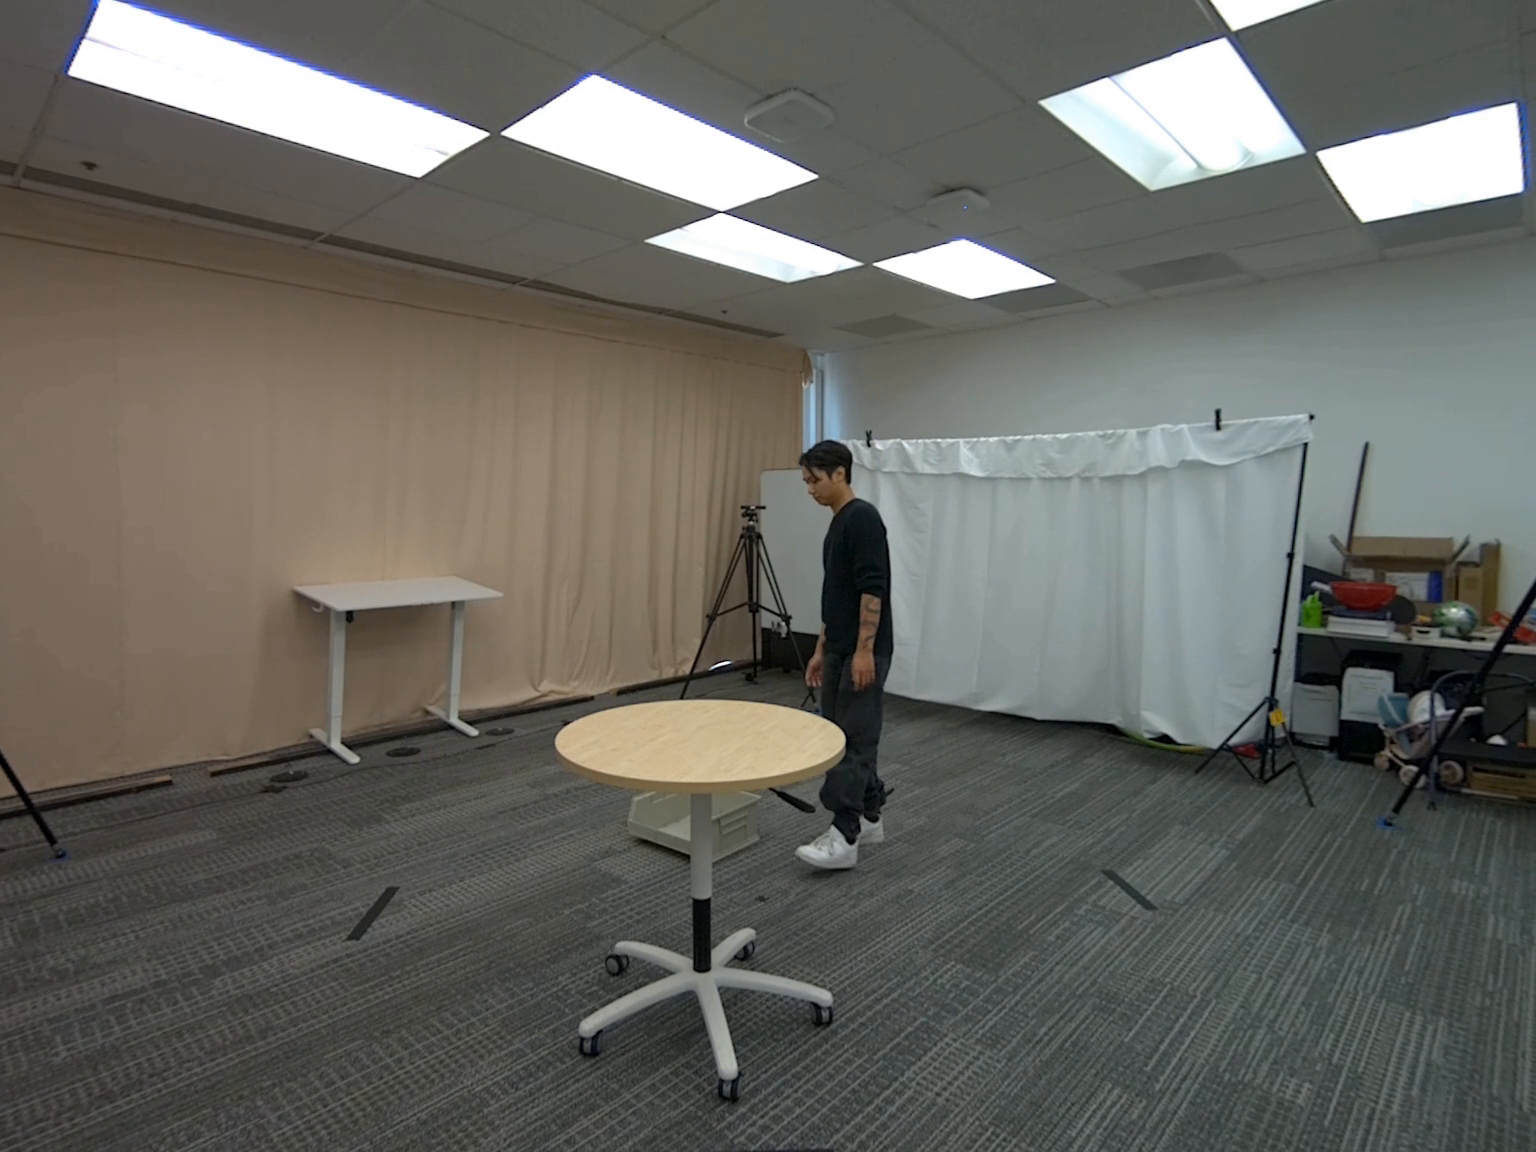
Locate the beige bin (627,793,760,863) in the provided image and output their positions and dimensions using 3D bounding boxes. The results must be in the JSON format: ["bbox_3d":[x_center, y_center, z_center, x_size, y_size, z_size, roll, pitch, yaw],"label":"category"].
[{"bbox_3d":[-0.305,1.015,3.514,0.436,0.188,0.366,3,6,39],"label":"beige bin"}]
